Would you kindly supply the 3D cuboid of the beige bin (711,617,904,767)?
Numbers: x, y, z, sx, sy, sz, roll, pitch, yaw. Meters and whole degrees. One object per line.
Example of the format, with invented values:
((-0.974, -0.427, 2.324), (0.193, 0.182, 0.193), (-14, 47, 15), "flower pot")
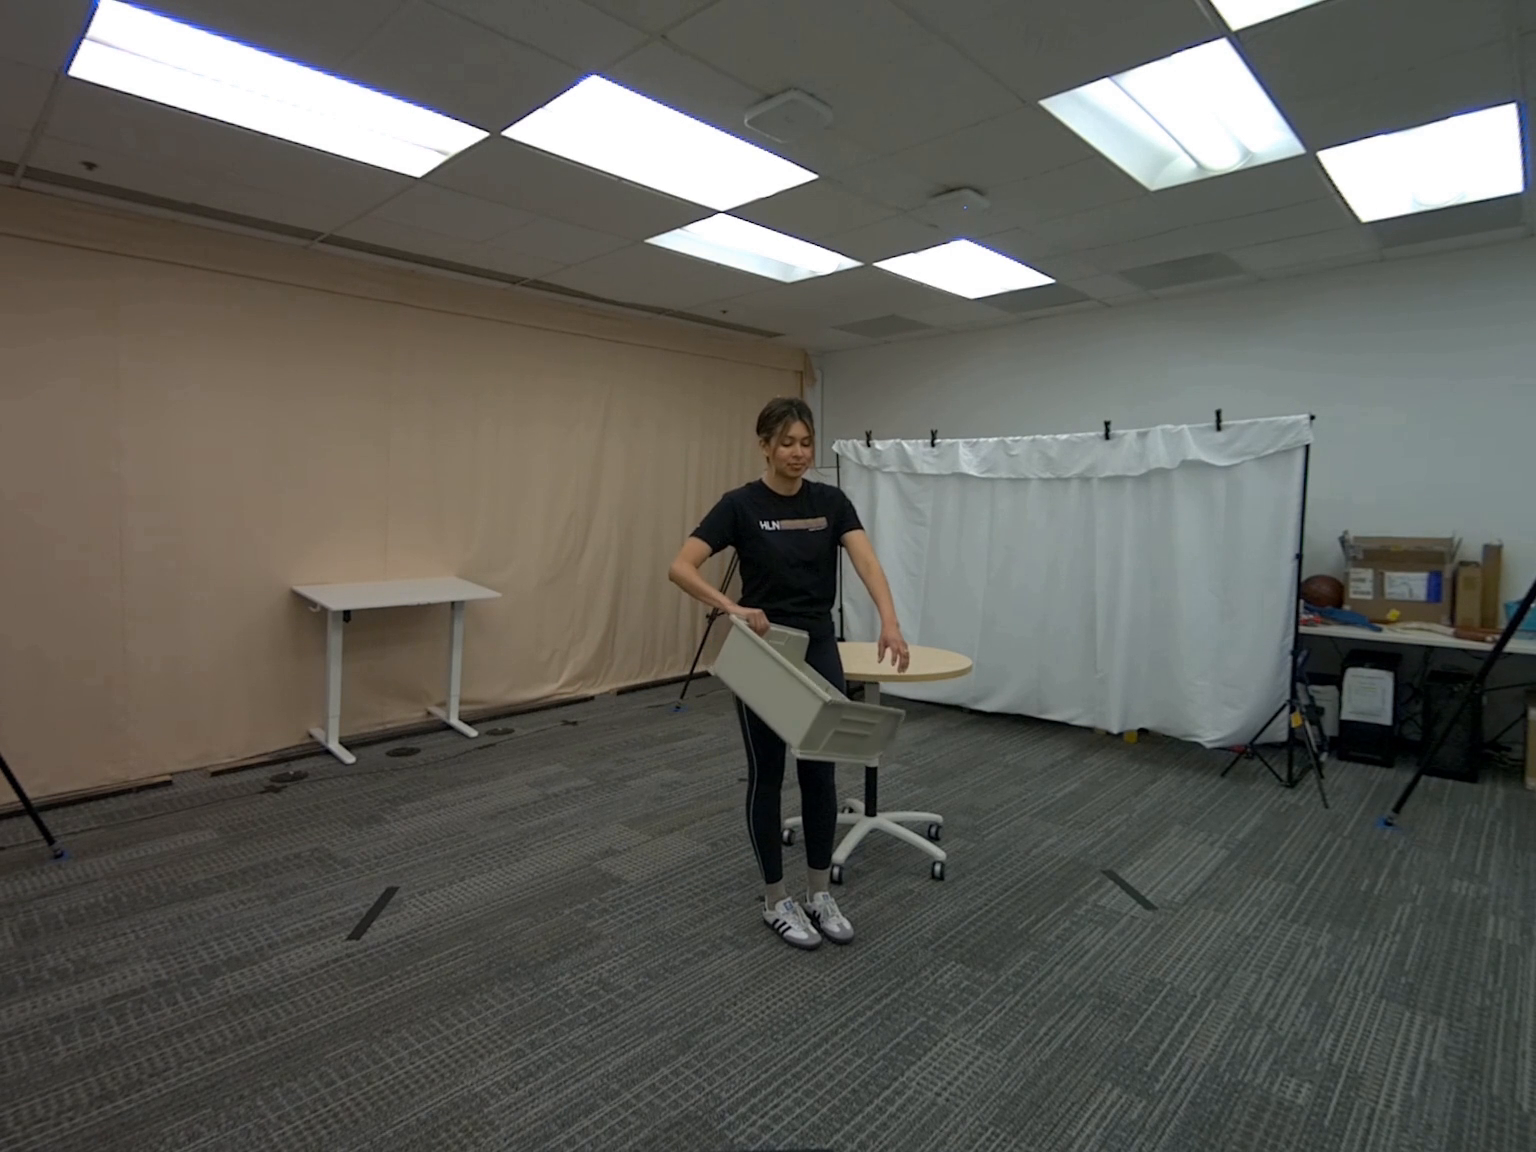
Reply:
((0.108, 0.317, 2.342), (0.364, 0.189, 0.438), (15, 17, -44), "beige bin")
